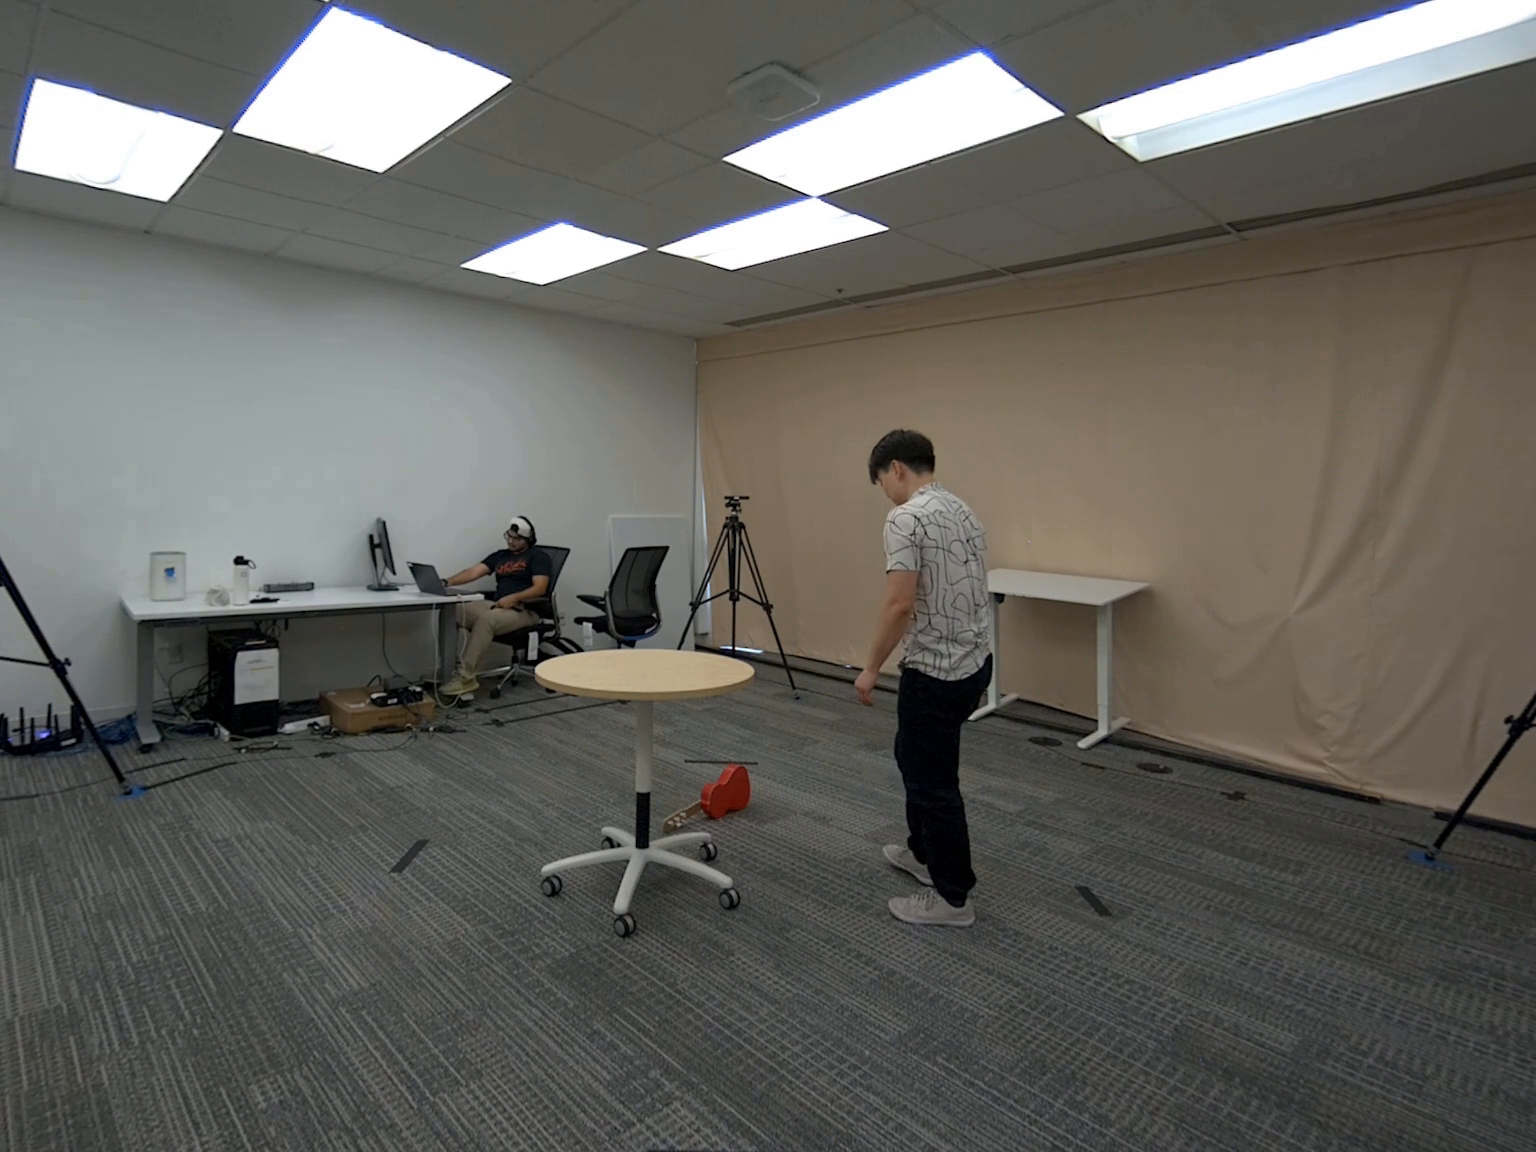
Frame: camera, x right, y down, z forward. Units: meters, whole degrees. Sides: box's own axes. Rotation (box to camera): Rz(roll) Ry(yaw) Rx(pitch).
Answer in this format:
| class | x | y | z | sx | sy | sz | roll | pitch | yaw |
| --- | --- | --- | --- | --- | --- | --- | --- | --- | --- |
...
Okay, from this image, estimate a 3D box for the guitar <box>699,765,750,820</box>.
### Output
| class | x | y | z | sx | sy | sz | roll | pitch | yaw |
| --- | --- | --- | --- | --- | --- | --- | --- | --- | --- |
| guitar | -0.257 | 1.006 | 3.653 | 0.072 | 0.190 | 0.493 | -1 | 20 | 40 |
